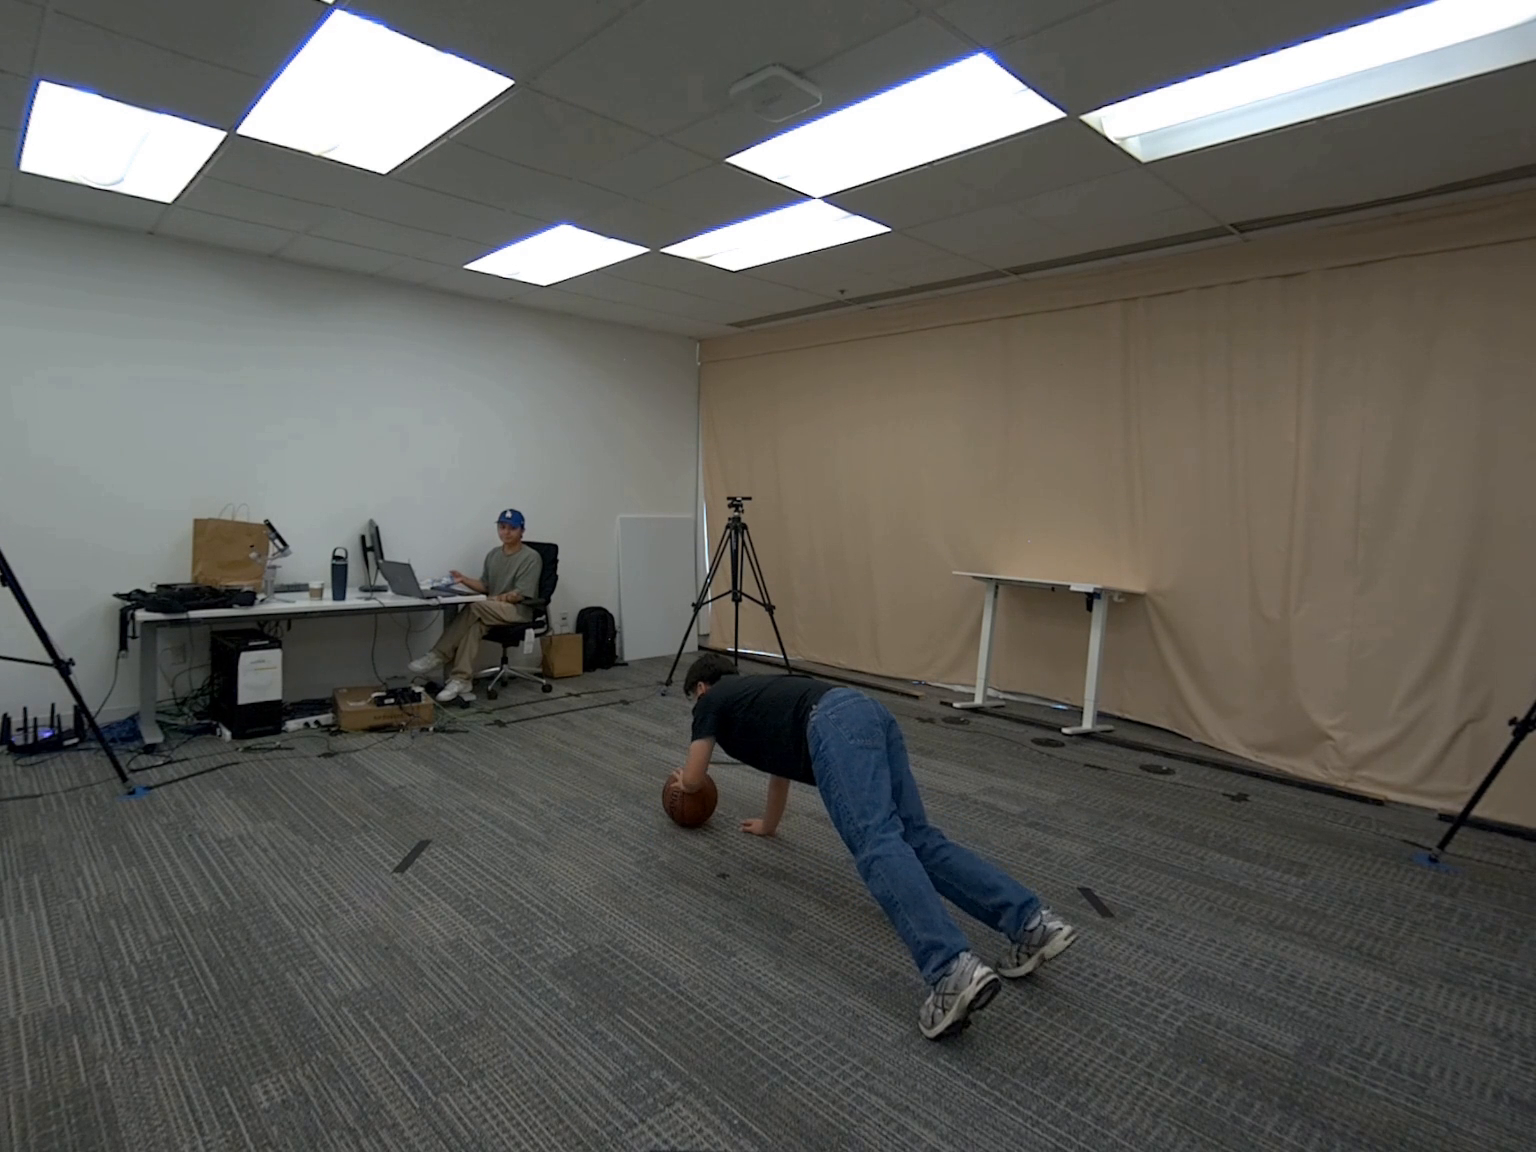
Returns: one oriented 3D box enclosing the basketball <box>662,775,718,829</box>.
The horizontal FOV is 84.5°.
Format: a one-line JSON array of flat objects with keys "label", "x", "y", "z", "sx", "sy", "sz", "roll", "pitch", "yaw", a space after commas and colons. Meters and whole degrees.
[{"label": "basketball", "x": -0.337, "y": 0.937, "z": 3.587, "sx": 0.236, "sy": 0.235, "sz": 0.237, "roll": 1, "pitch": 4, "yaw": -1}]
